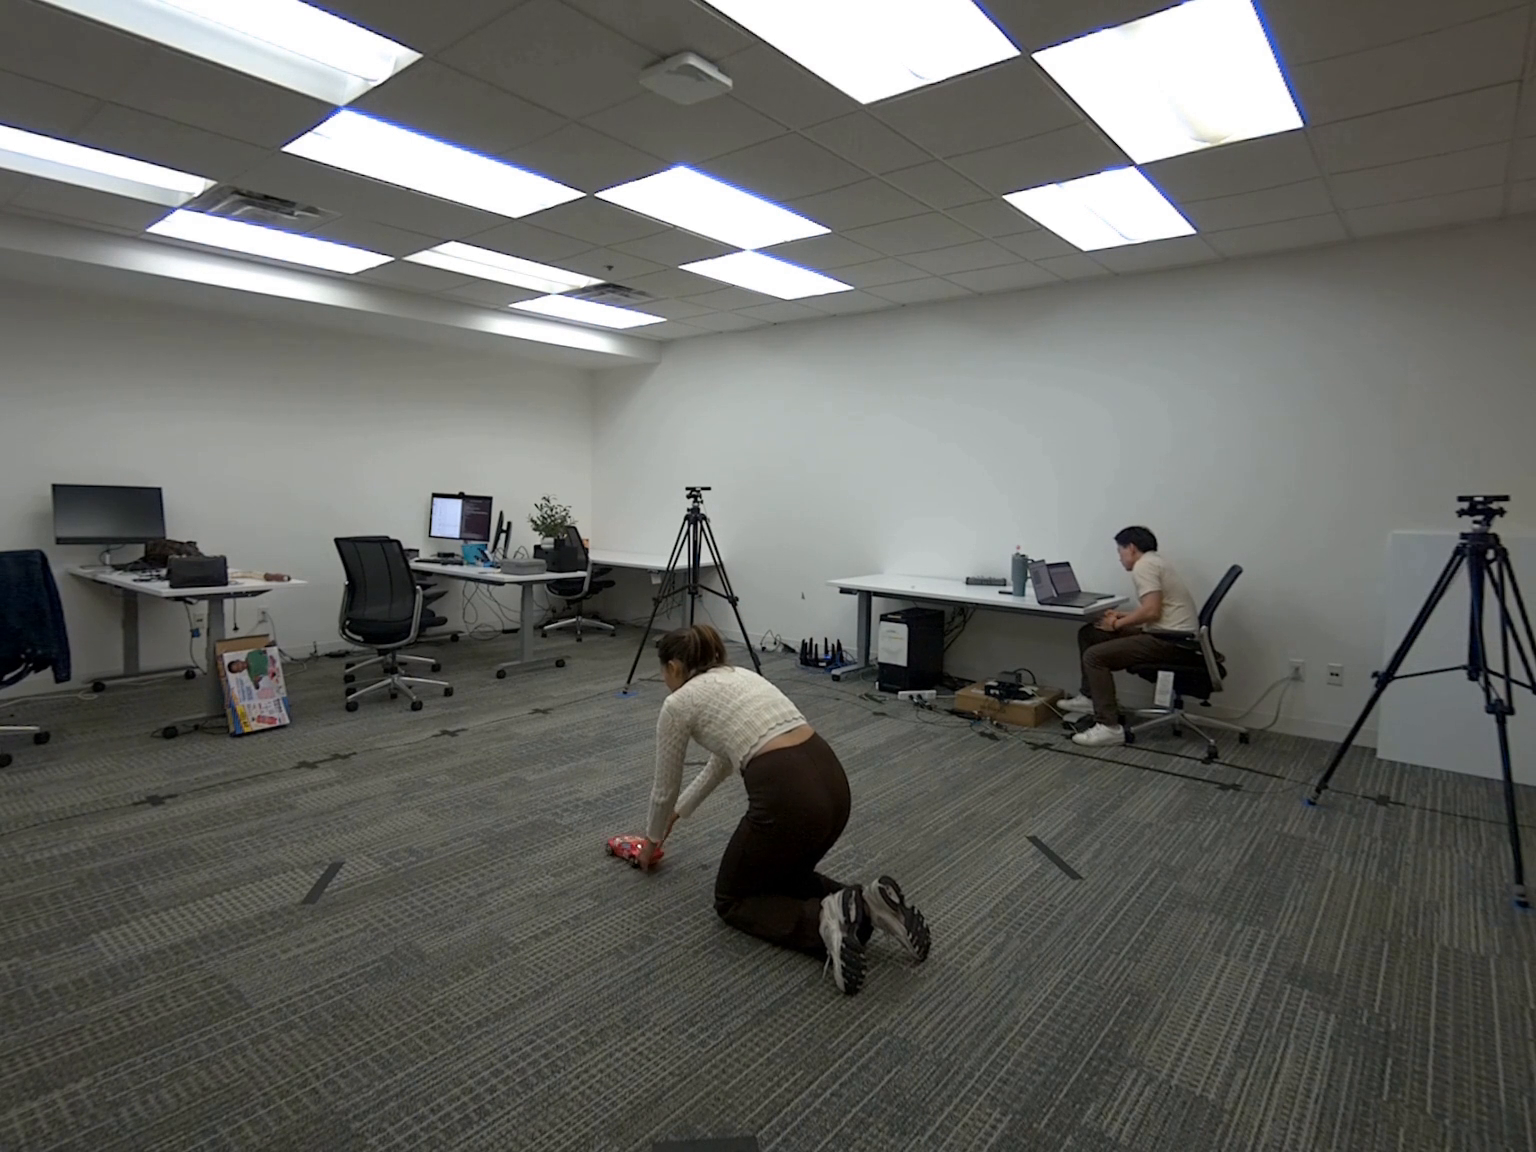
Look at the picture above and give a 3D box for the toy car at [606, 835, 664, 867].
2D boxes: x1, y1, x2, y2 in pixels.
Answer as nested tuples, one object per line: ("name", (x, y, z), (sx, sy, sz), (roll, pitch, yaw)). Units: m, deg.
("toy car", (-0.498, 1.025, 3.168), (0.261, 0.083, 0.126), (-7, -3, 44))
